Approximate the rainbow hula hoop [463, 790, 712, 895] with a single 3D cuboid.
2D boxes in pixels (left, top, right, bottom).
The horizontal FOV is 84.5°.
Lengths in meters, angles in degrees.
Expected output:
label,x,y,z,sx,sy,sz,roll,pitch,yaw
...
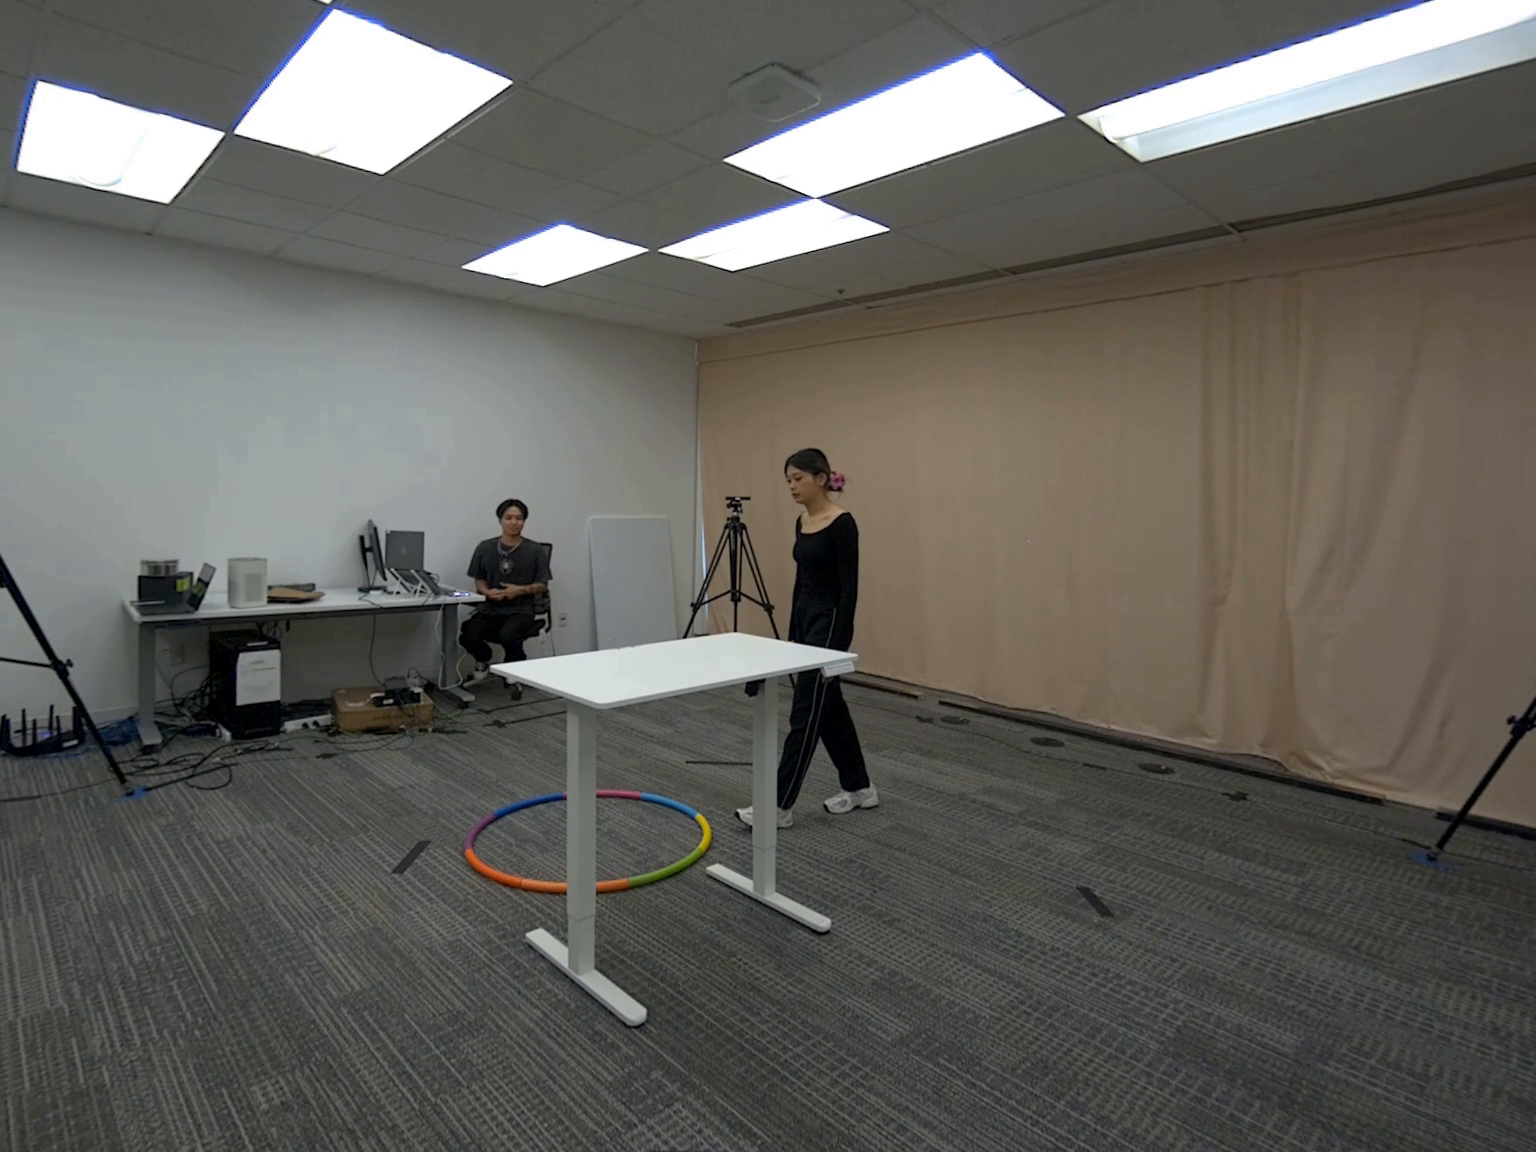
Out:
label,x,y,z,sx,sy,sz,roll,pitch,yaw
rainbow hula hoop,-0.724,1.039,3.411,0.978,0.035,0.982,1,5,-1
